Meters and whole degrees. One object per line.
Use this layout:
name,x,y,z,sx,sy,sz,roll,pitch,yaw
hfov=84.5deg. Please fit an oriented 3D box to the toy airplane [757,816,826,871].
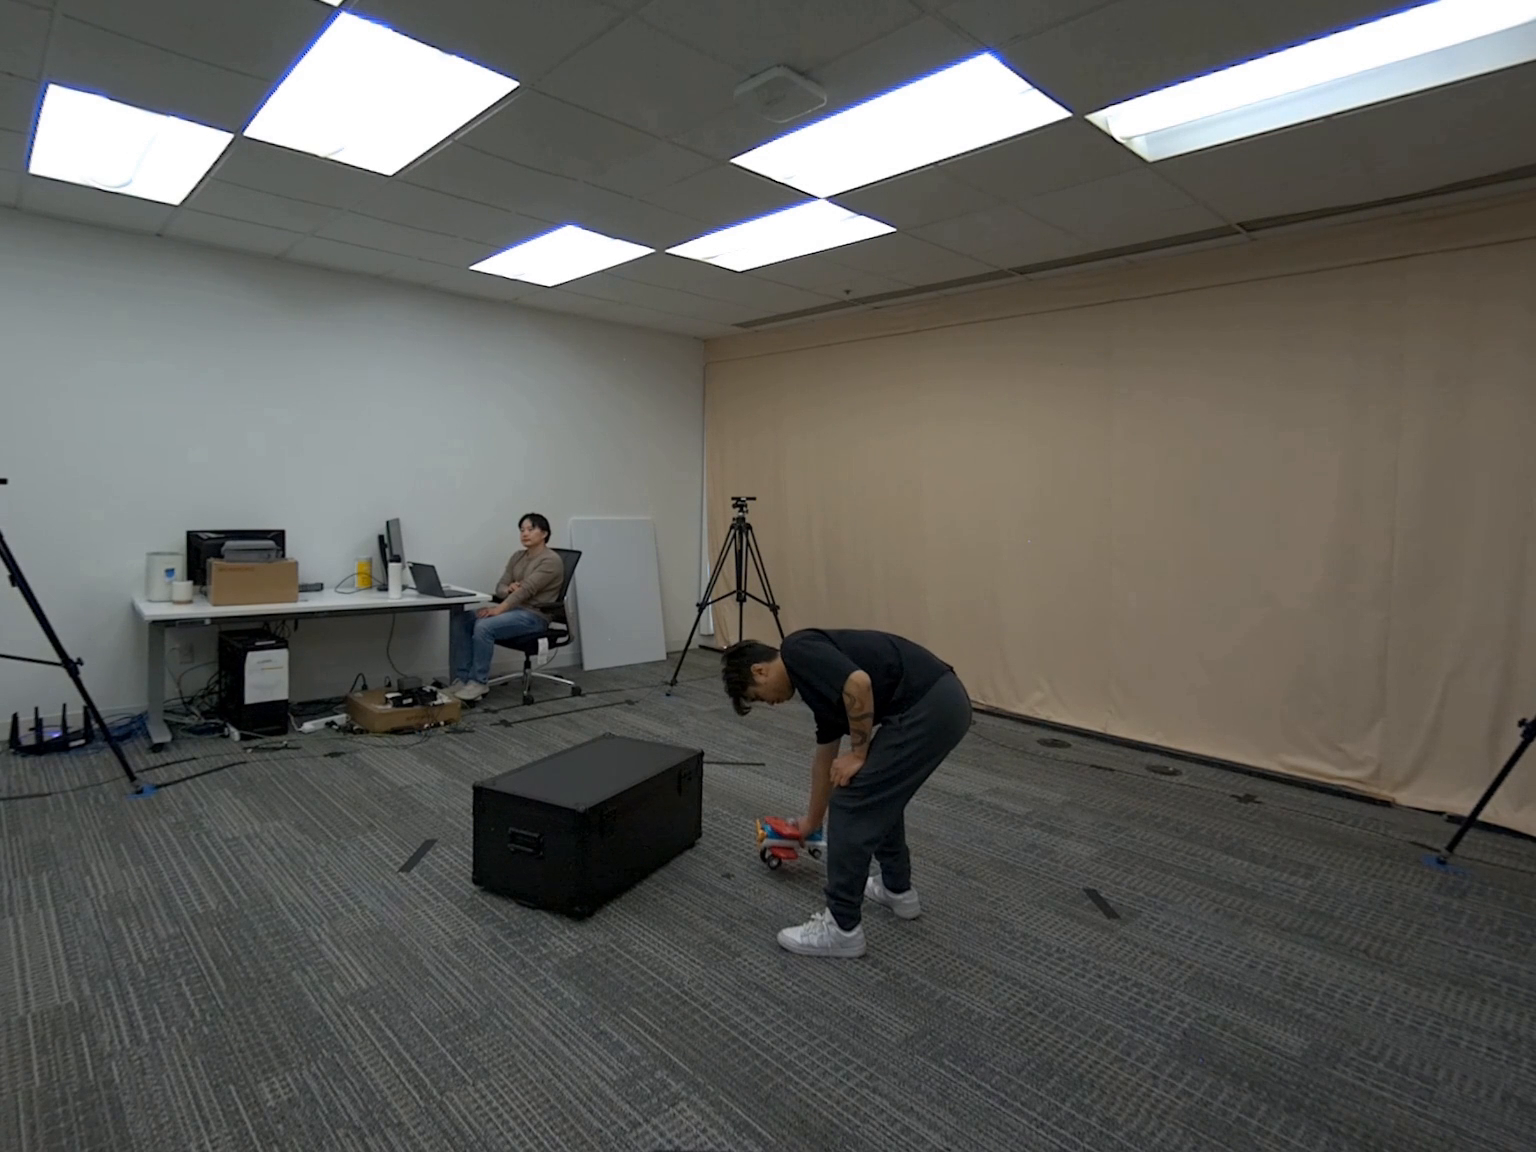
toy airplane,0.067,0.990,3.163,0.256,0.156,0.254,-4,2,45
